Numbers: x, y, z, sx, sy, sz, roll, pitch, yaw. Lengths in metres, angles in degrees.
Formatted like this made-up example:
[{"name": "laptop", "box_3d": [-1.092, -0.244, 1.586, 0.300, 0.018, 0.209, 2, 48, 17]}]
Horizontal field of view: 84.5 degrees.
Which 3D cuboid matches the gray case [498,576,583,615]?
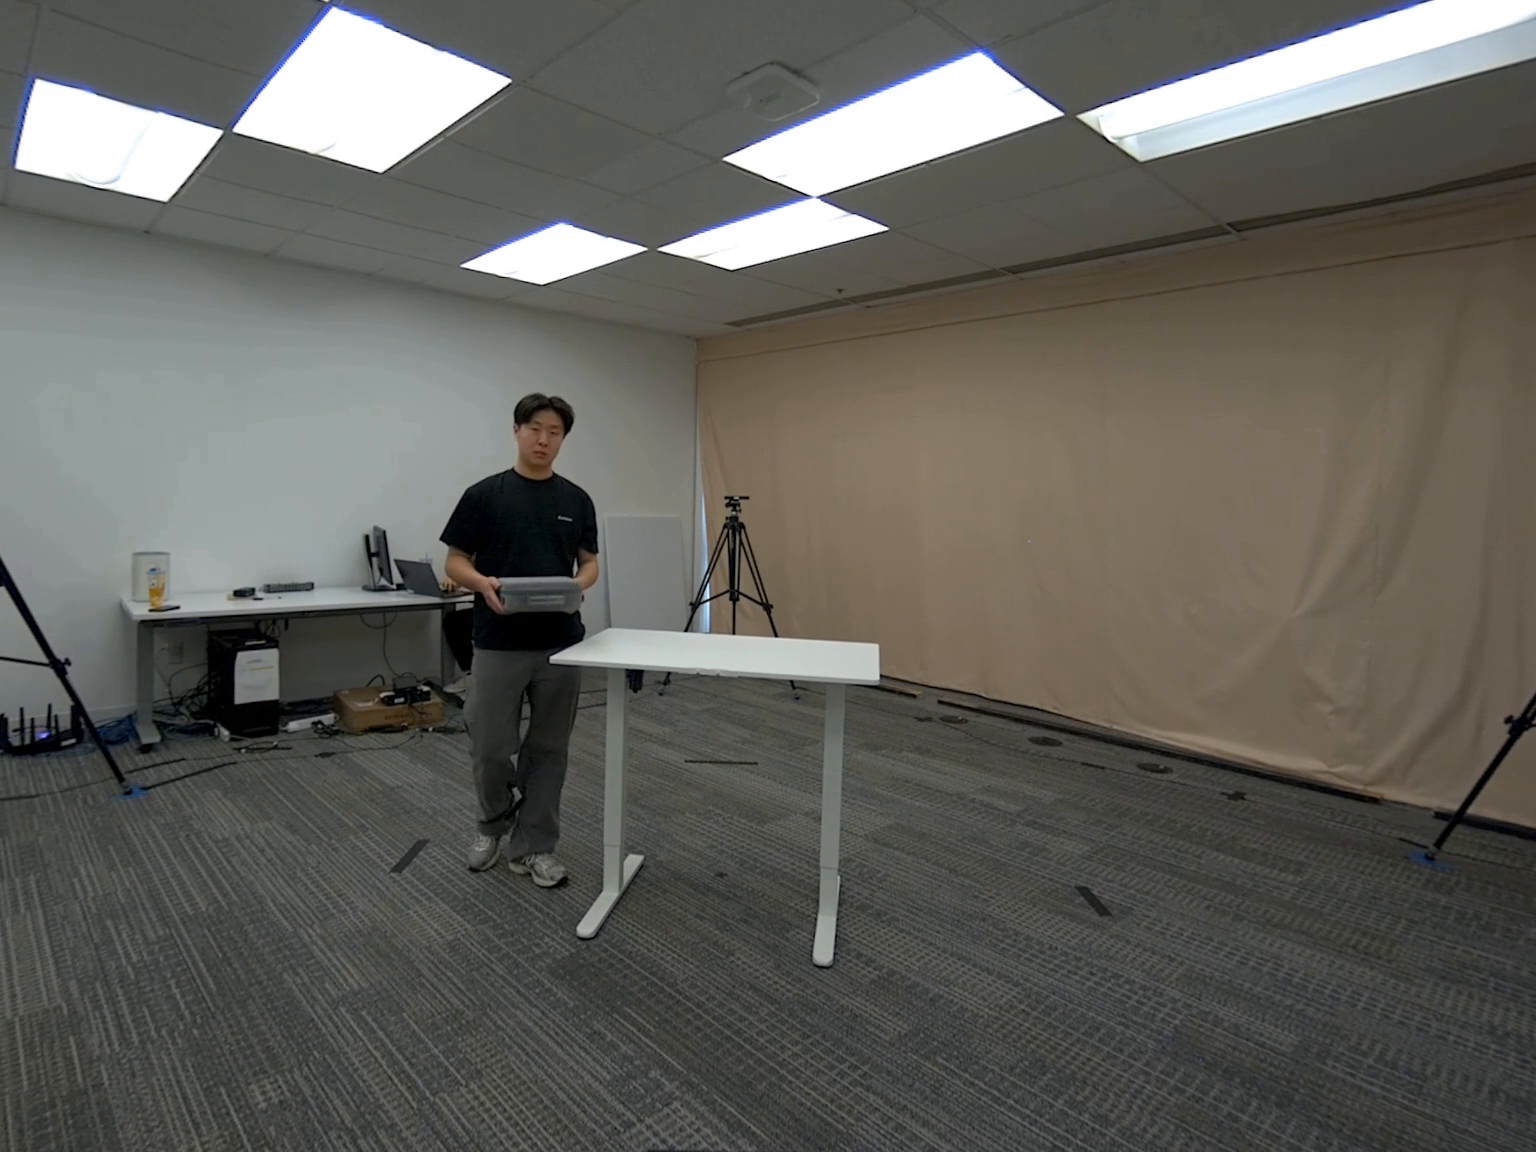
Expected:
[{"name": "gray case", "box_3d": [-0.757, 0.059, 2.810, 0.261, 0.103, 0.290, -1, 4, -10]}]
